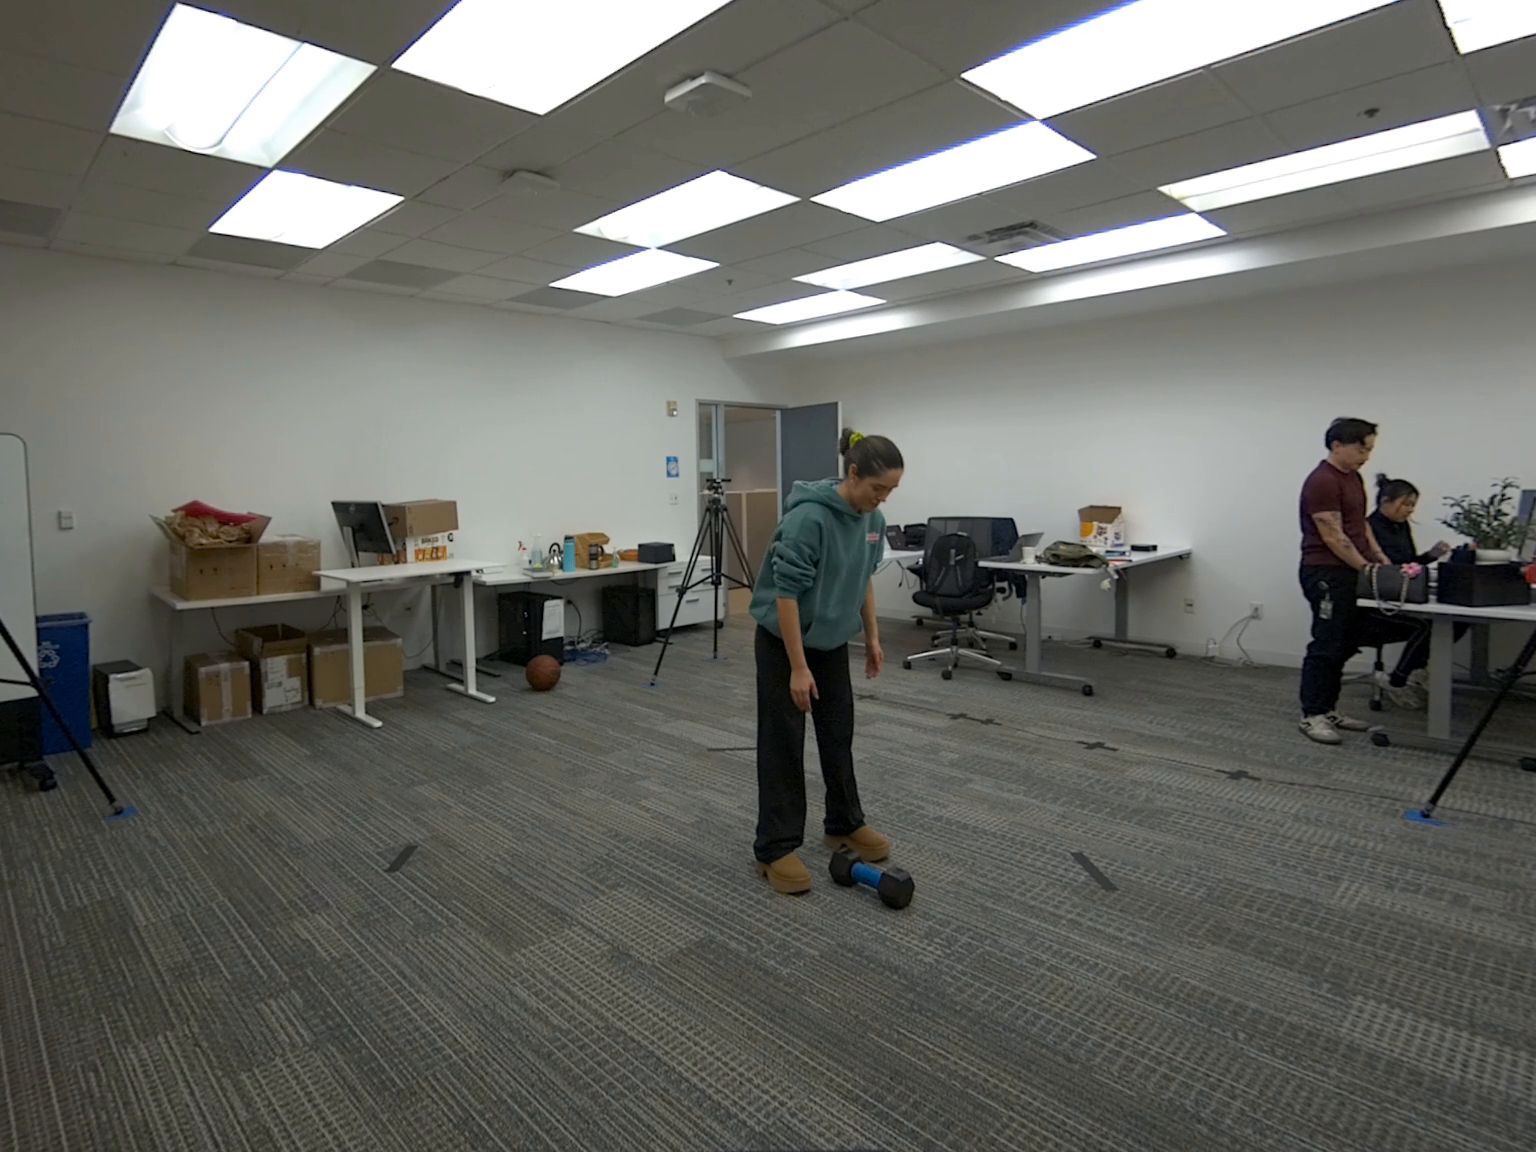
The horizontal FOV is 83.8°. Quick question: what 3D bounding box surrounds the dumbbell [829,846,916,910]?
[{"bbox_3d":[0.352,1.015,2.867,0.120,0.108,0.302,-5,7,-42],"label":"dumbbell"}]
